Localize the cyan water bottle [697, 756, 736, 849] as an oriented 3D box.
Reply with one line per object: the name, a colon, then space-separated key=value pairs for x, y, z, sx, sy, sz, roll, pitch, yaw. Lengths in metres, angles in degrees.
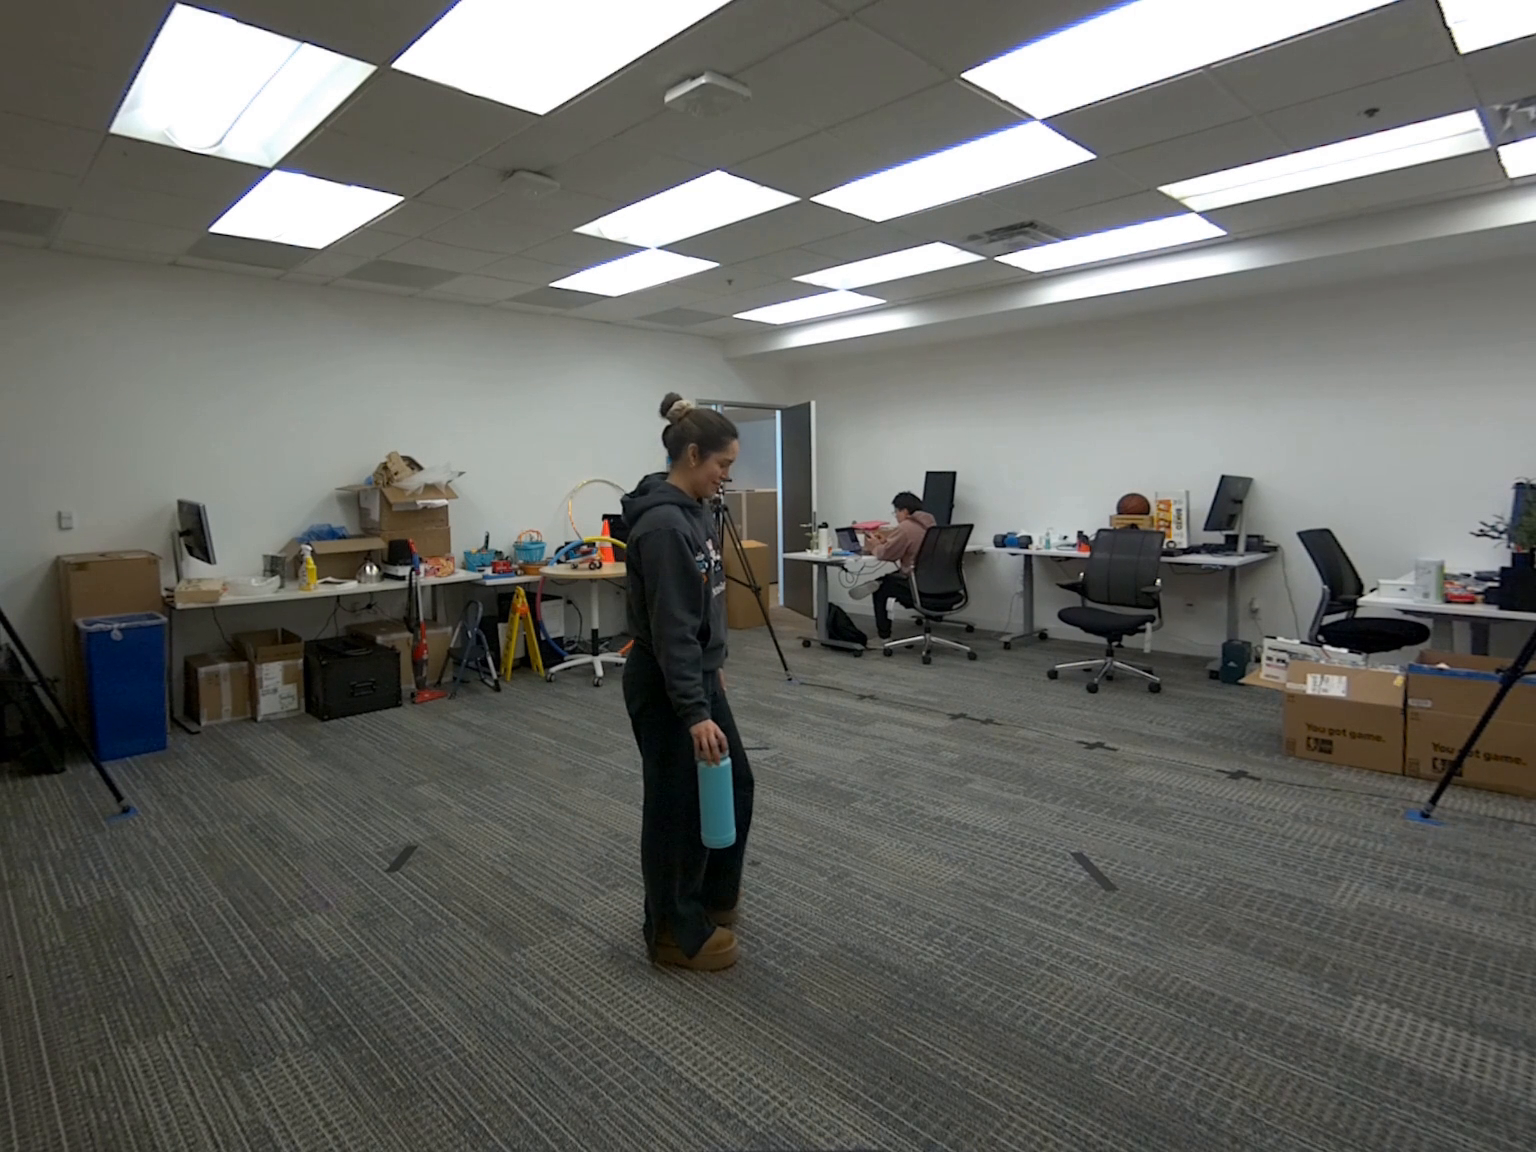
cyan water bottle: x=-0.147 y=0.563 z=2.234 sx=0.092 sy=0.282 sz=0.093 roll=-2 pitch=3 yaw=-1
